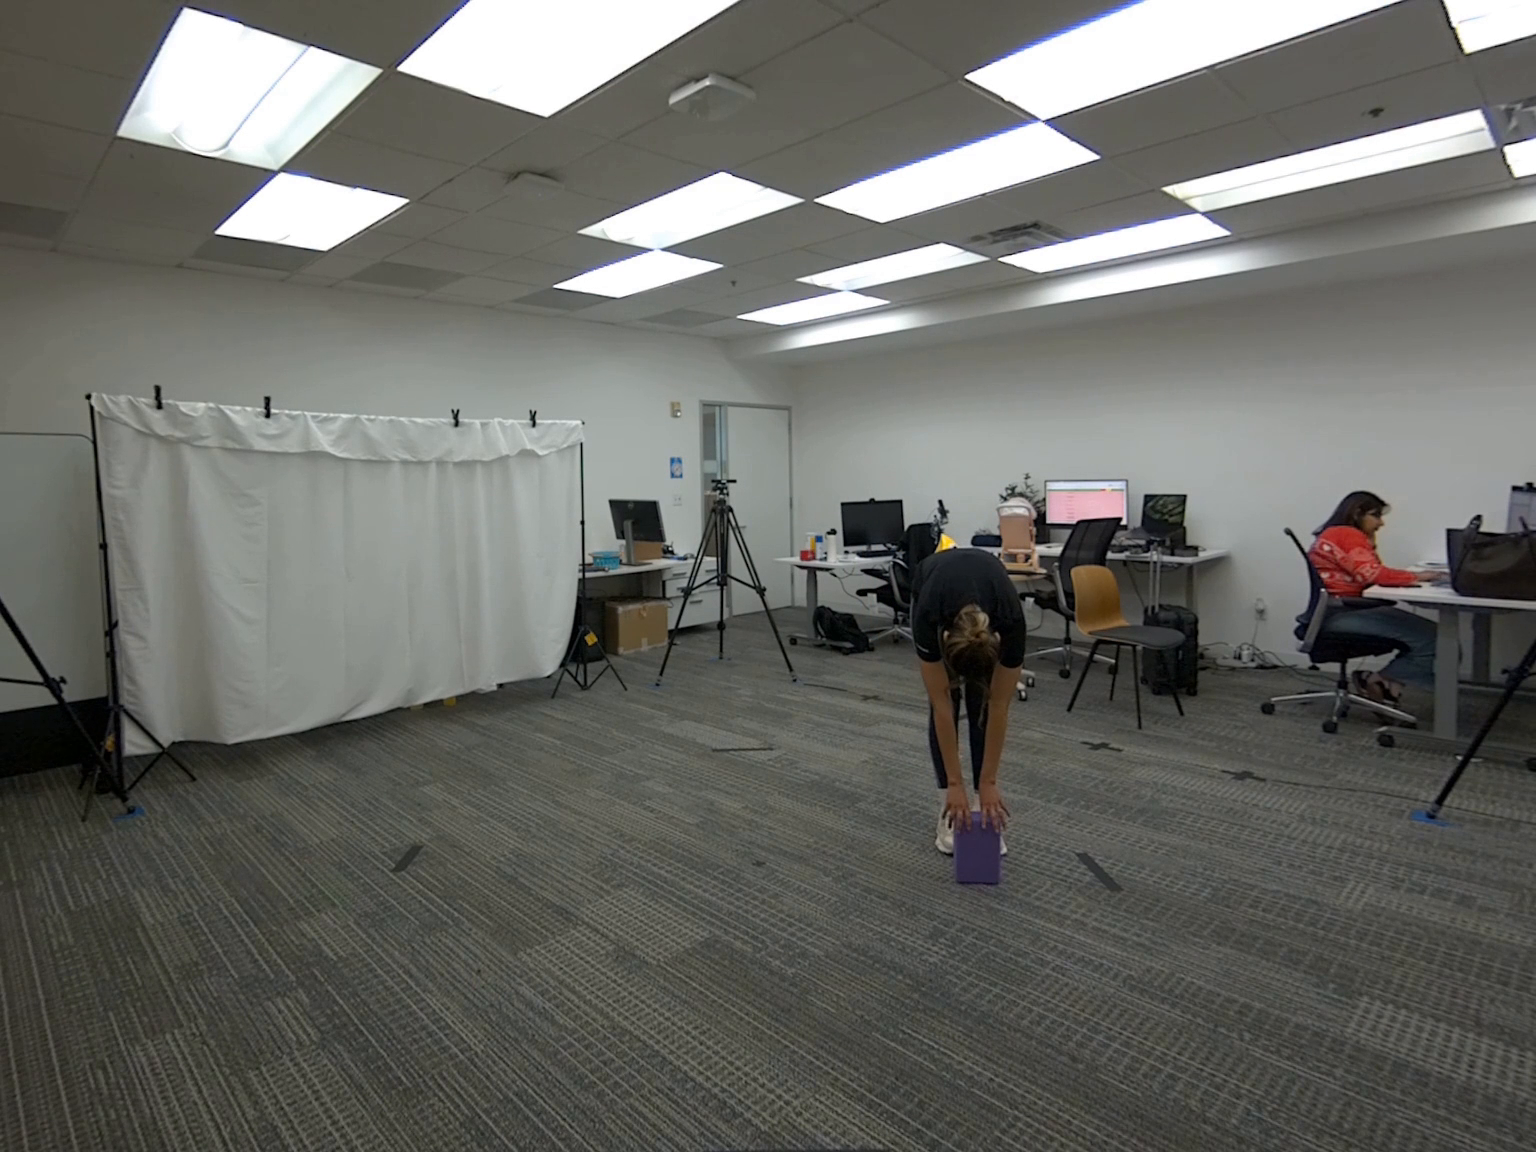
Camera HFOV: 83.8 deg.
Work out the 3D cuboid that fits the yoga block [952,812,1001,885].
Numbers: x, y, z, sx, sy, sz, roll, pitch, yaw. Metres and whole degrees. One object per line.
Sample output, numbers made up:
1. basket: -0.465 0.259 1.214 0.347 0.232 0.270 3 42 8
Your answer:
1. yoga block: 0.724 0.940 2.944 0.150 0.229 0.076 -2 2 6
